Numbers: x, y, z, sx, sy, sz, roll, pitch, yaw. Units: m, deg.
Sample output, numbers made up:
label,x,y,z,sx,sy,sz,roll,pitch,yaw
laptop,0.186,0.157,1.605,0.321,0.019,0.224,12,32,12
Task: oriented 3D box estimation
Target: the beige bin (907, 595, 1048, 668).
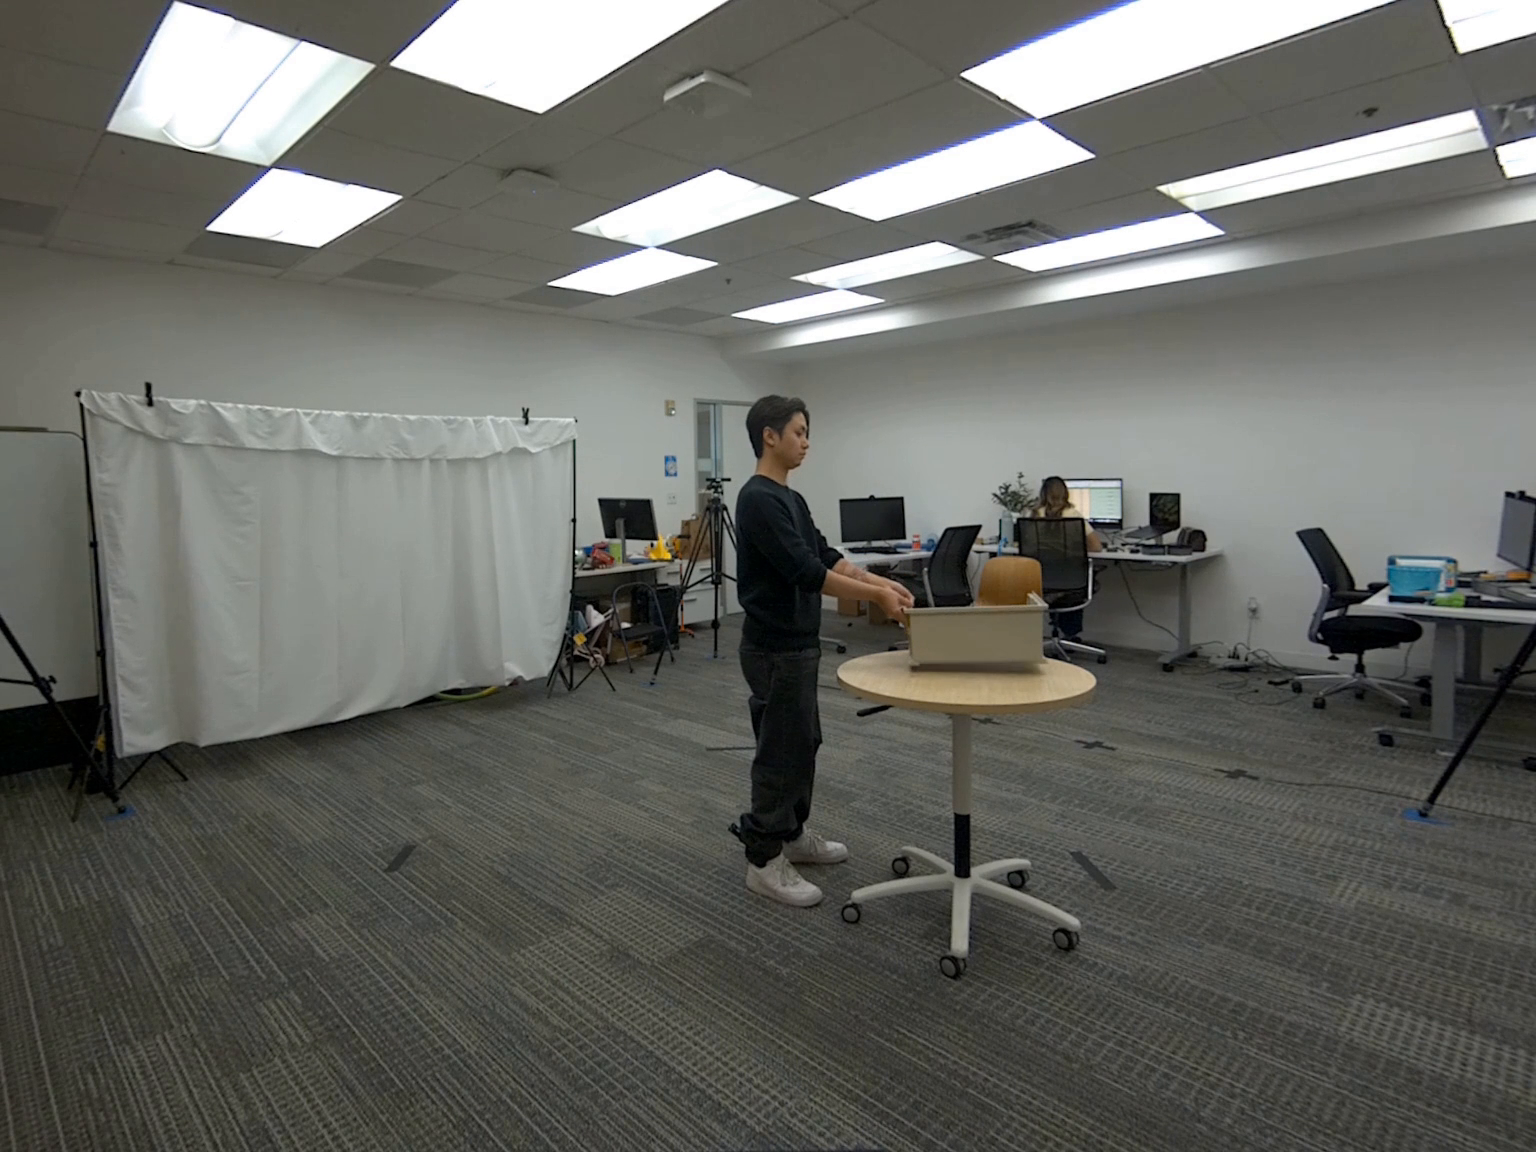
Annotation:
label,x,y,z,sx,sy,sz,roll,pitch,yaw
beige bin,0.660,0.160,2.775,0.427,0.188,0.376,-2,8,10
